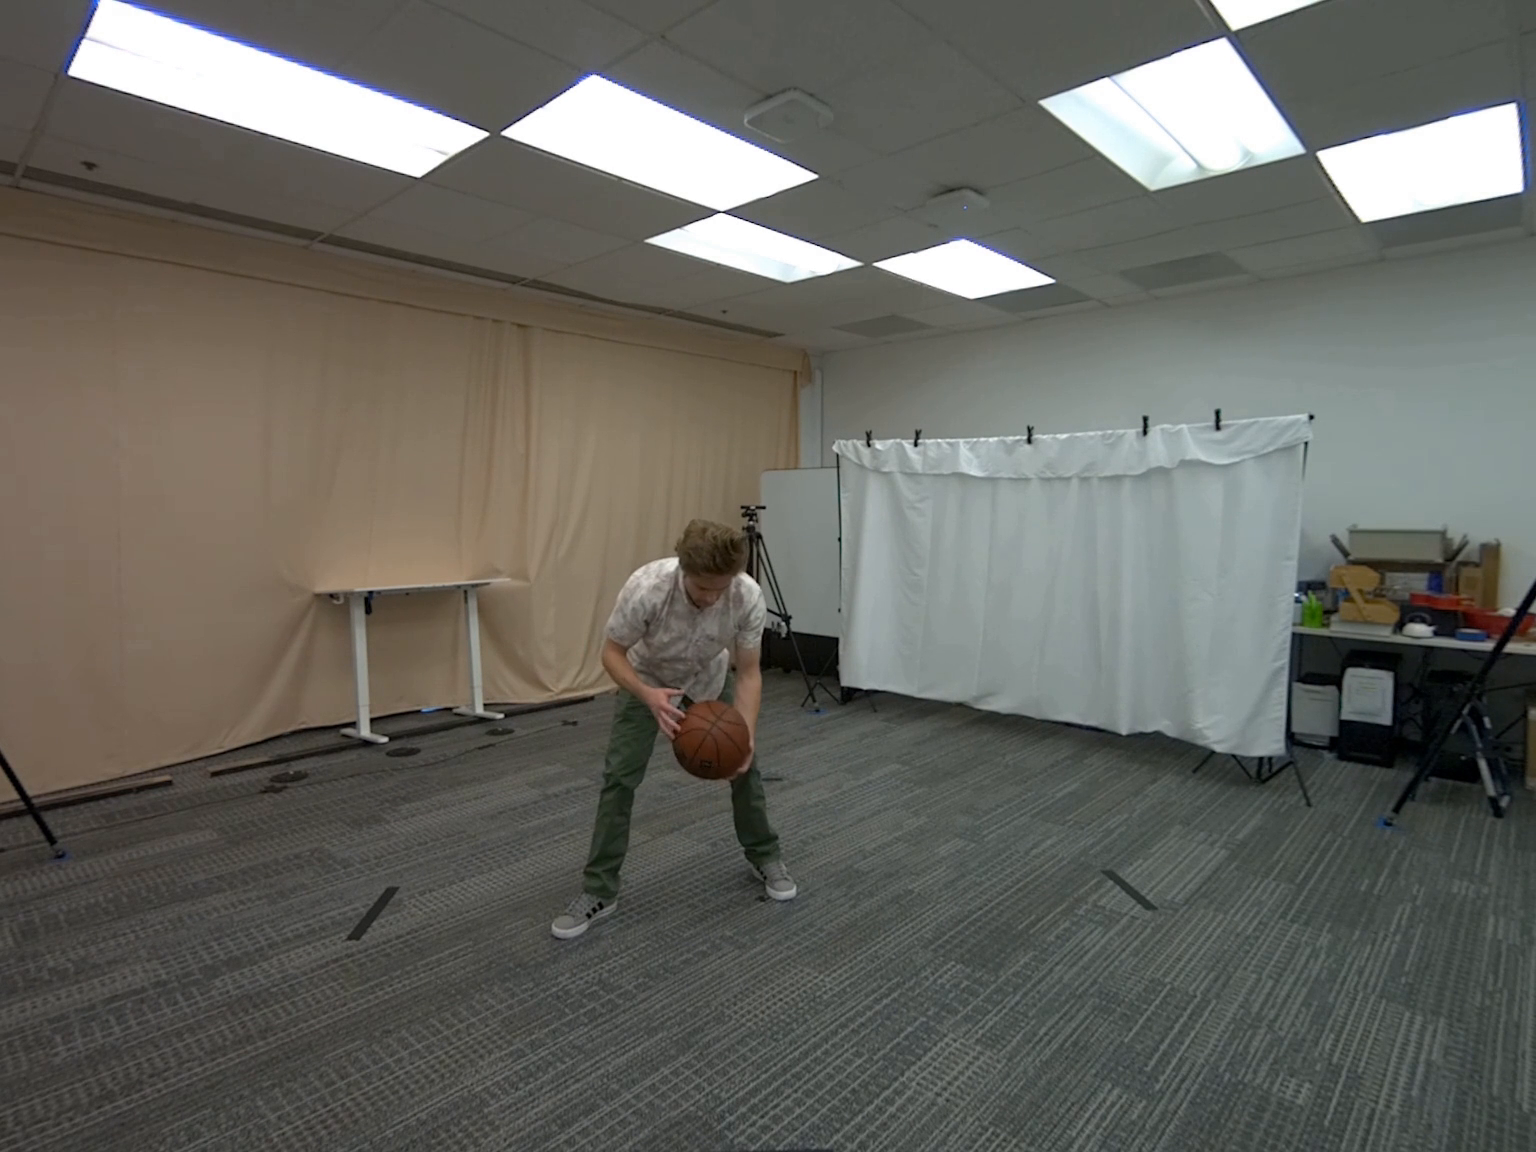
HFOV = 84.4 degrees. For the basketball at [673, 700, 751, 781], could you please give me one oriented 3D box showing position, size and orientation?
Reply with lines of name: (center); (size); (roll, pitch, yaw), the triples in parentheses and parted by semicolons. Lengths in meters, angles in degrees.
basketball: (-0.179, 0.502, 2.581); (0.236, 0.235, 0.237); (0, 4, -2)
